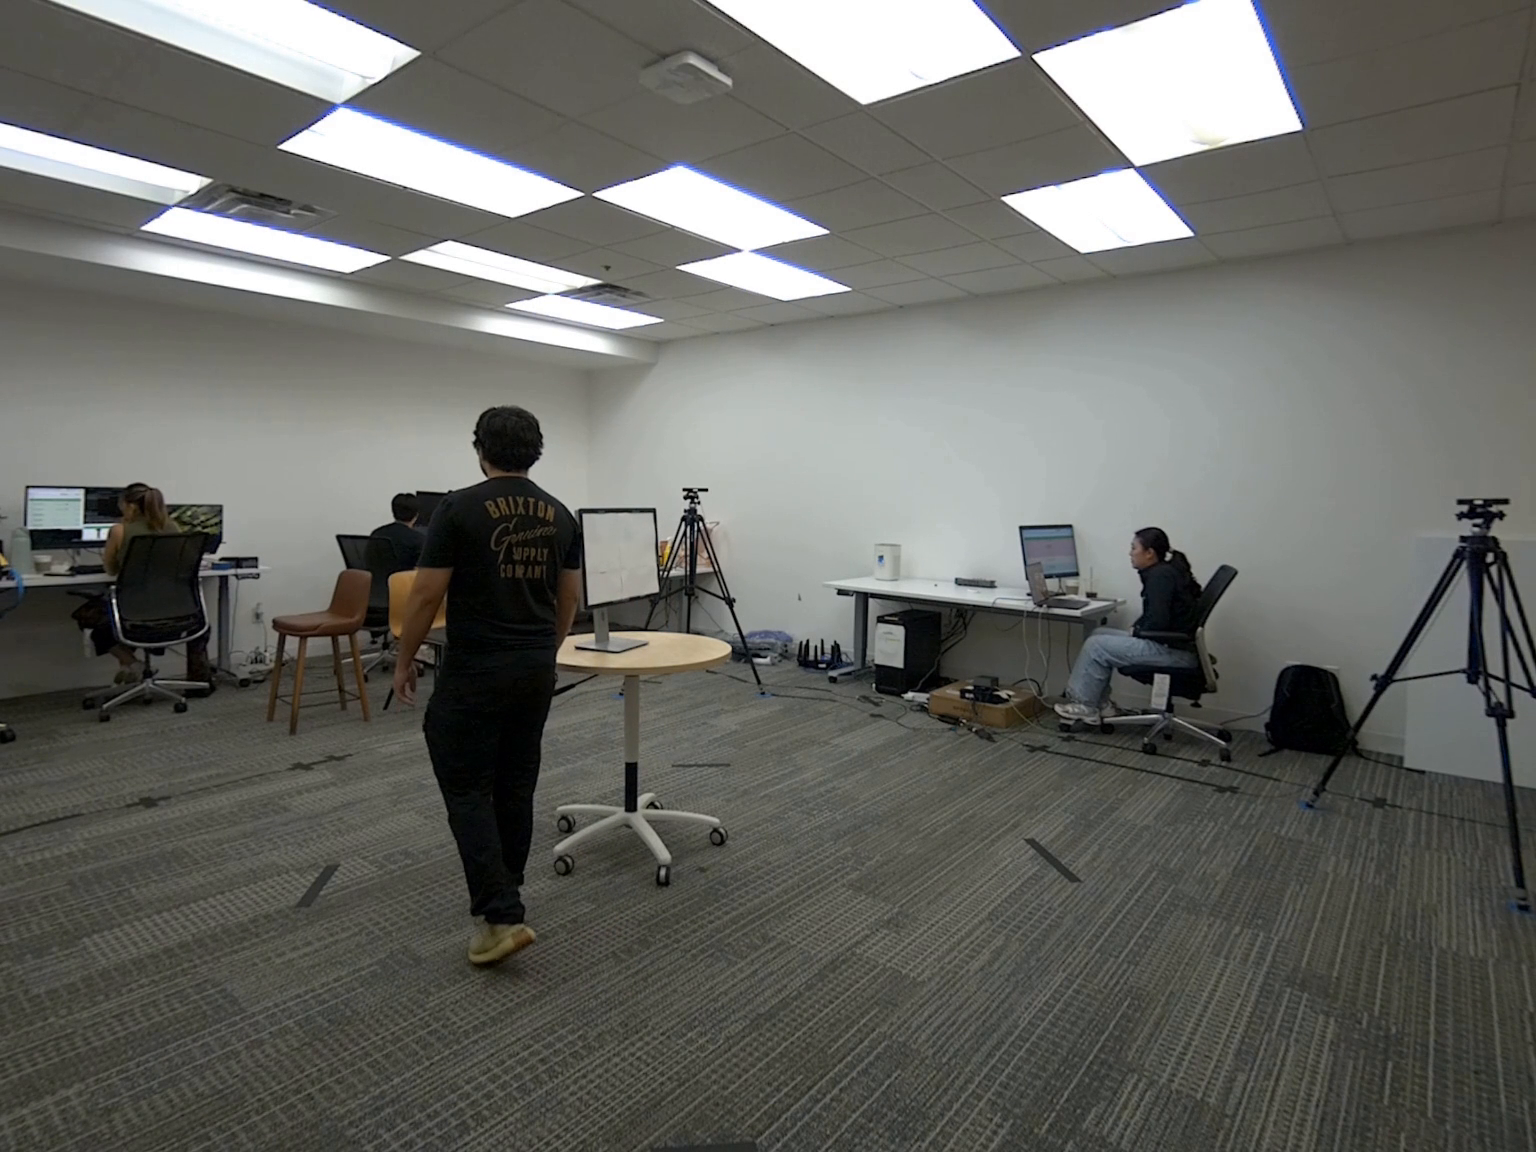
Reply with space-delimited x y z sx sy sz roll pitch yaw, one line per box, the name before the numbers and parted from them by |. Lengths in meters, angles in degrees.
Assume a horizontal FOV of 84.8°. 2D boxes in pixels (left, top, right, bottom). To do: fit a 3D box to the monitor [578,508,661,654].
monitor | -0.635 0.006 3.295 0.215 0.553 0.553 -1 3 23
